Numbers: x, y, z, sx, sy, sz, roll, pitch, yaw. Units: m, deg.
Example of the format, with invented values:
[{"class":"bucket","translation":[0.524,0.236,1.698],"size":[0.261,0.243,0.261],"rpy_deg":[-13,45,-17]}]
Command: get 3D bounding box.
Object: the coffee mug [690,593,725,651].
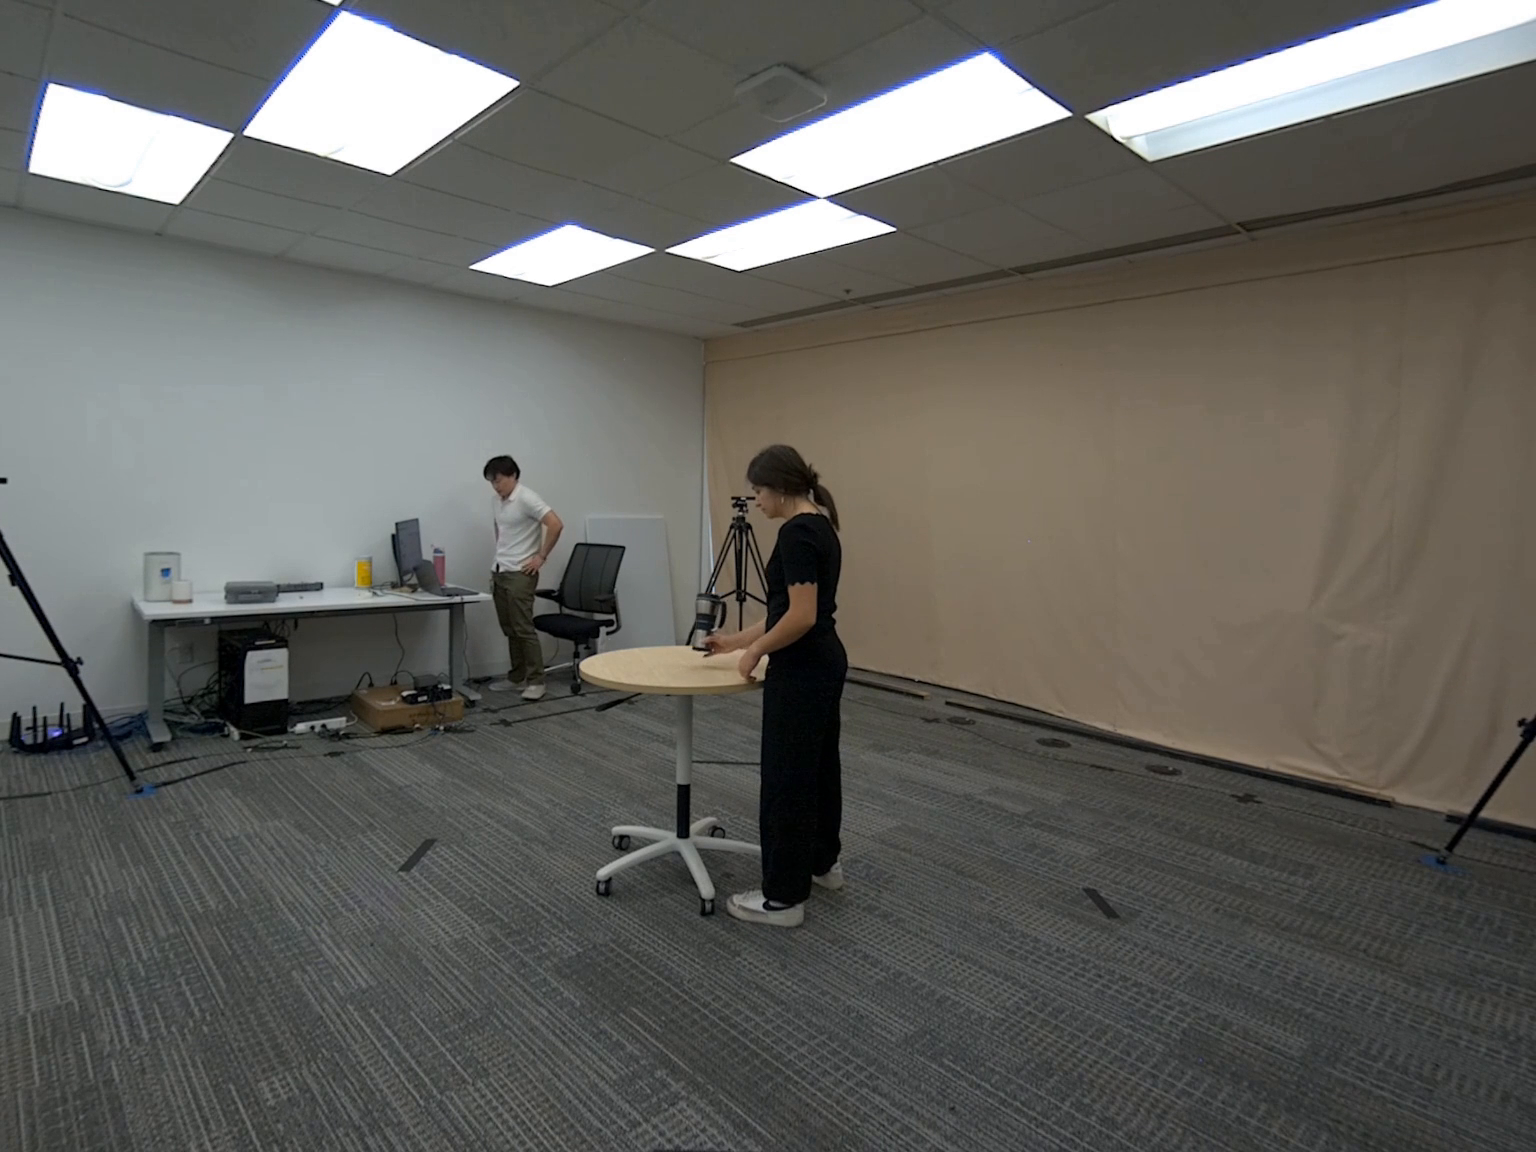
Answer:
[{"class":"coffee mug","translation":[-0.217,0.171,3.006],"size":[0.086,0.204,0.124],"rpy_deg":[15,-12,-32]}]
